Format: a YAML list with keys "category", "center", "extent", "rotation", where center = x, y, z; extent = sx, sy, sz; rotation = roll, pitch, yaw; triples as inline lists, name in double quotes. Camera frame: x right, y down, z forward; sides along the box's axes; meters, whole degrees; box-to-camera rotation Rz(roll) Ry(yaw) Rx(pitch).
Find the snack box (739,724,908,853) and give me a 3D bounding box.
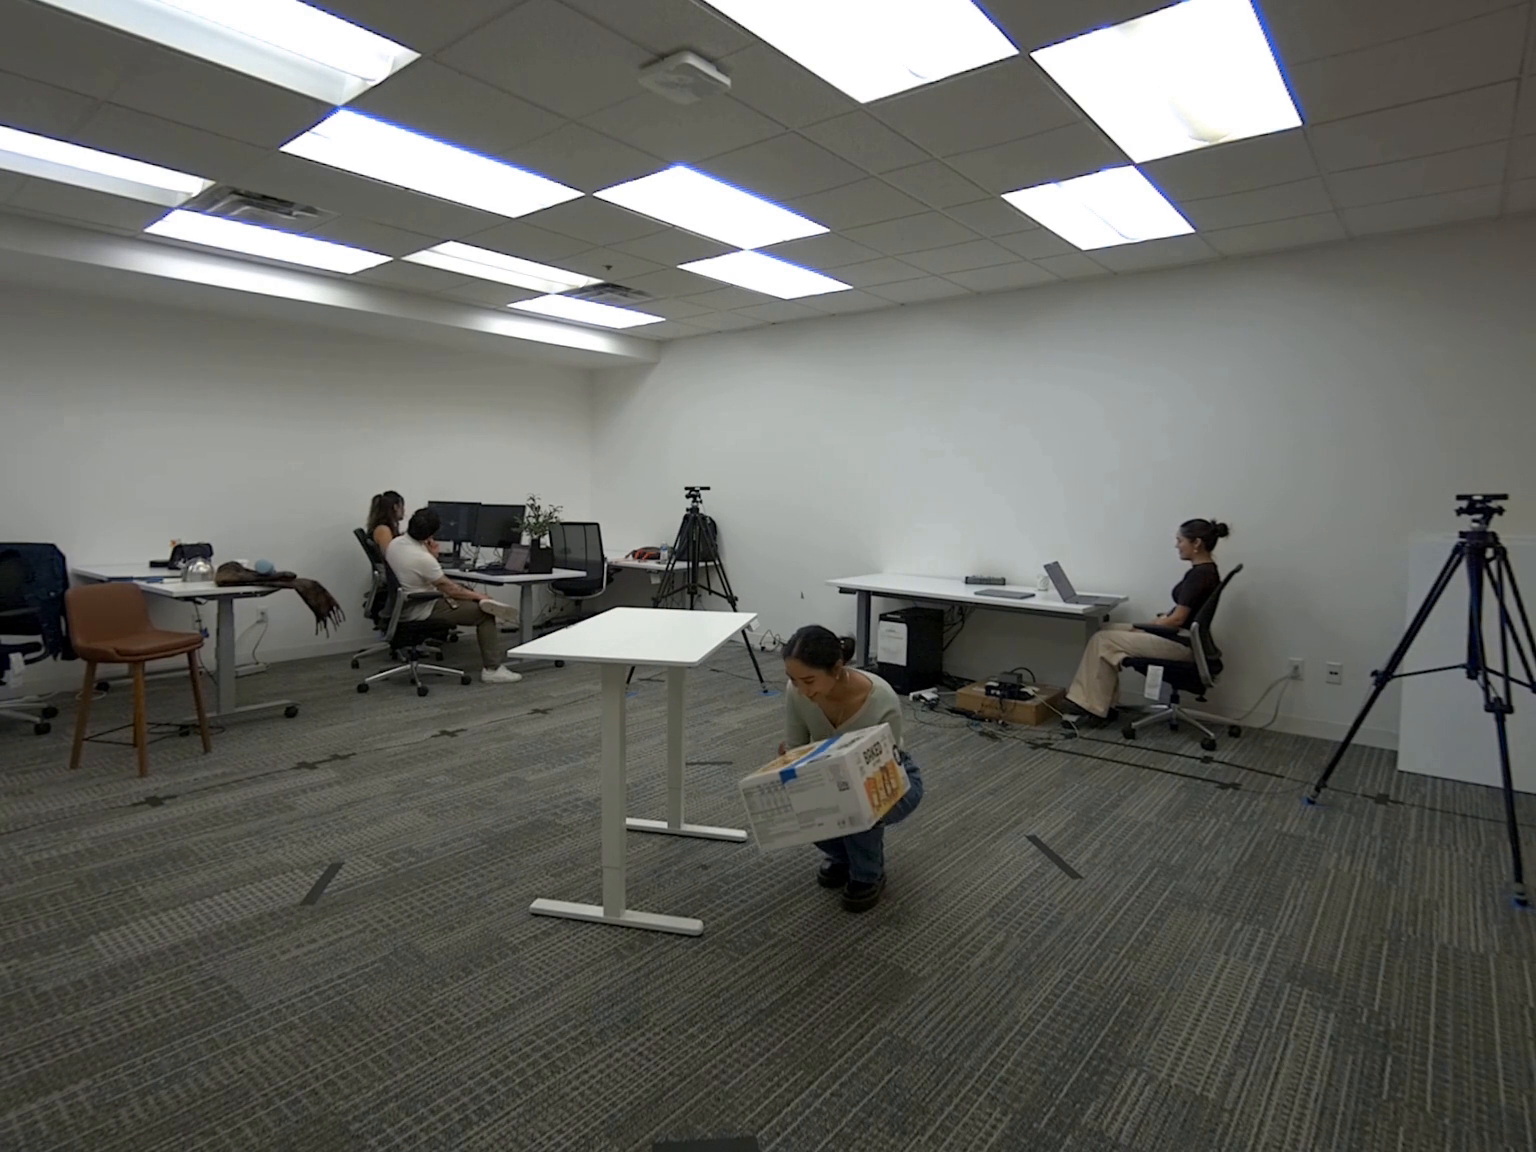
- category: "snack box"
  center: [0.169, 0.597, 2.463]
  extent: [0.345, 0.208, 0.395]
  rotation: [-22, -7, 26]
